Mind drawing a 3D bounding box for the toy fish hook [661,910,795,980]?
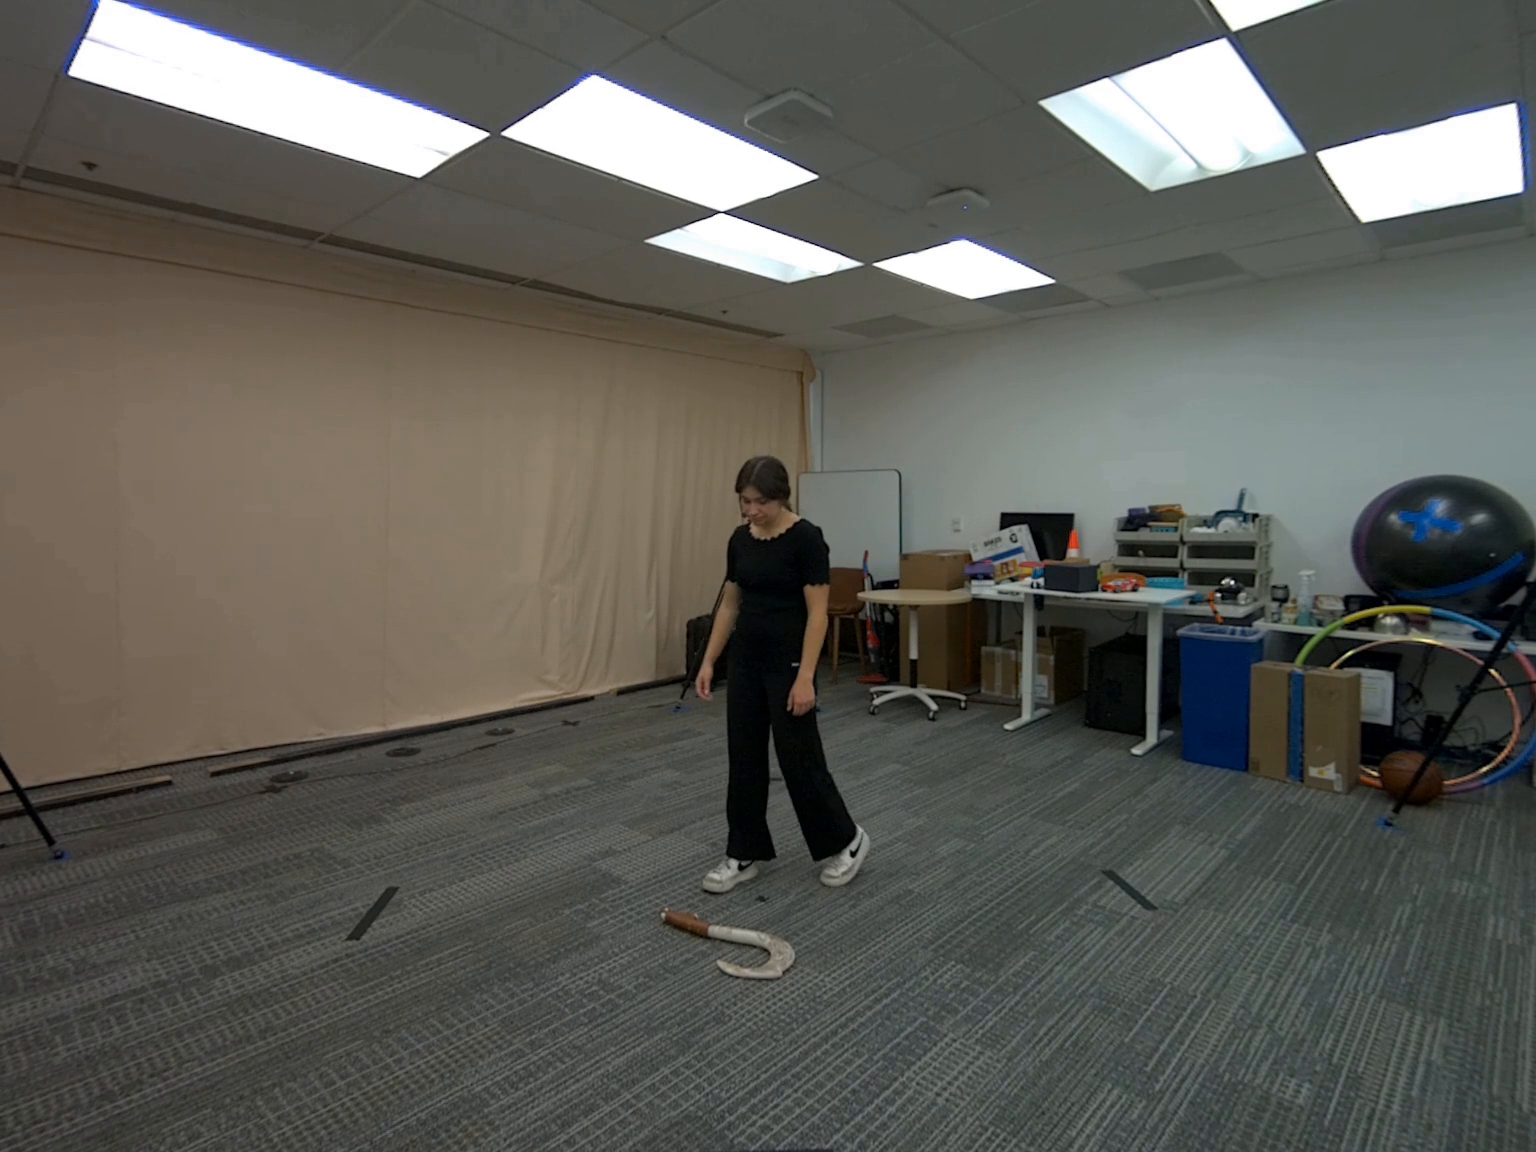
[{"bbox_3d":[-0.159,1.151,2.643,0.521,0.048,0.218,2,4,31],"label":"toy fish hook"}]
